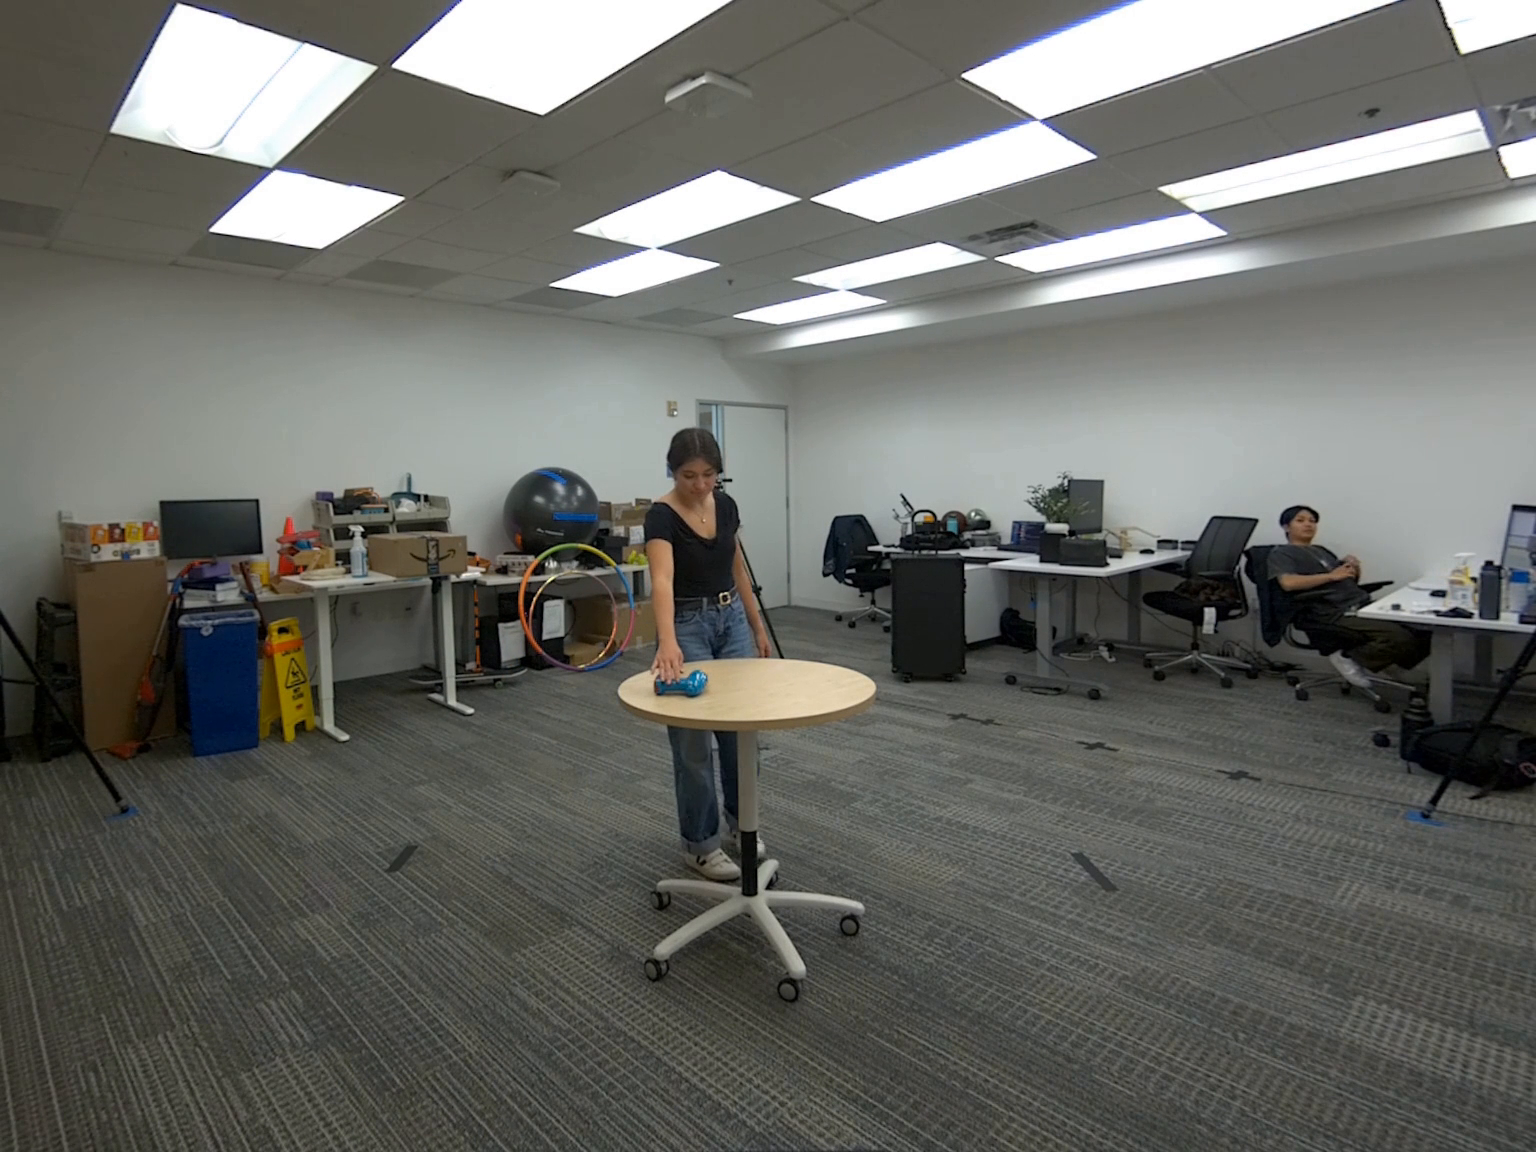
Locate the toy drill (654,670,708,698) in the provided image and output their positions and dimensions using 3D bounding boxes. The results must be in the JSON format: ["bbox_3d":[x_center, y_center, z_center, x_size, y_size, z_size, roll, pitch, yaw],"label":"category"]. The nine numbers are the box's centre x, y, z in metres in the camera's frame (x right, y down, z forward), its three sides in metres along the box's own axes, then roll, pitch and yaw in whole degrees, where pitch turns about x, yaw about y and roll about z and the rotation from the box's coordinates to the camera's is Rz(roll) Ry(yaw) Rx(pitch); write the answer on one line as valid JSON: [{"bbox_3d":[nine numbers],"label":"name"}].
[{"bbox_3d":[-0.237,0.311,2.500,0.148,0.060,0.170,-4,14,12],"label":"toy drill"}]
